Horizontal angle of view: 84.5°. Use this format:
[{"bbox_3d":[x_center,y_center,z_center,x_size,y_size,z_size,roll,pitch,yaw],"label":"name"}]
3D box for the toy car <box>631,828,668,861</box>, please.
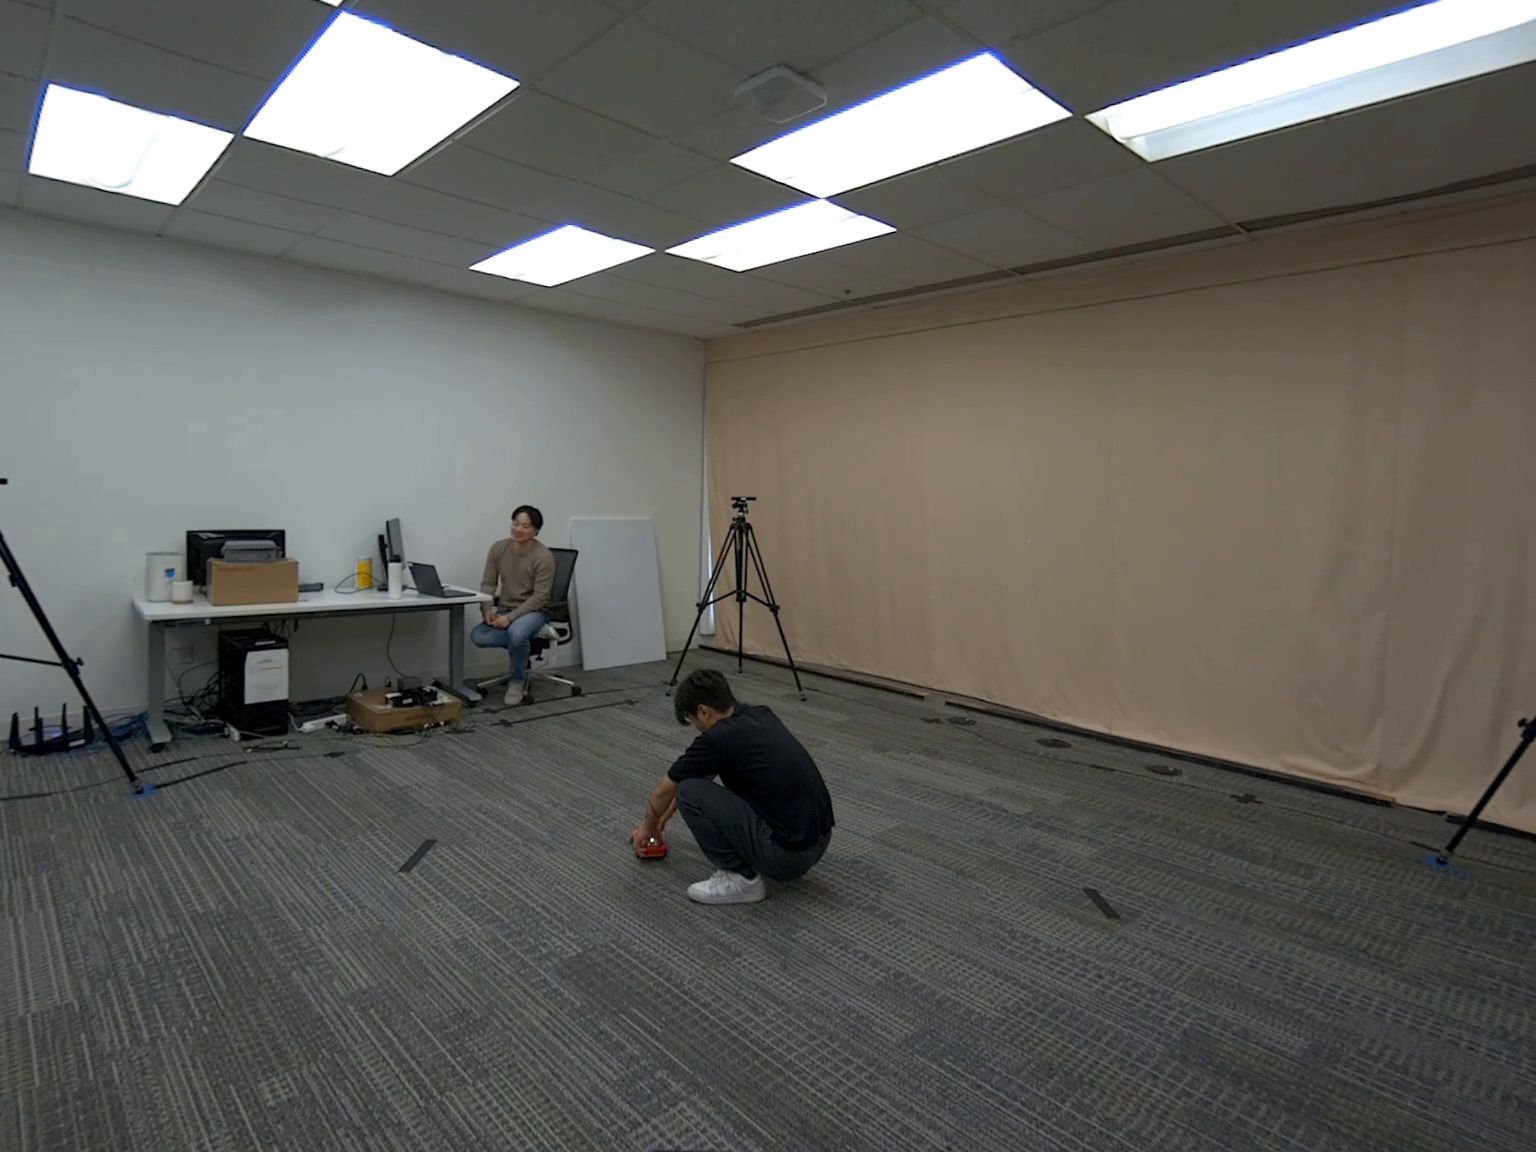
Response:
[{"bbox_3d":[-0.472,1.047,3.308,0.129,0.083,0.256,-1,-4,-16],"label":"toy car"}]
